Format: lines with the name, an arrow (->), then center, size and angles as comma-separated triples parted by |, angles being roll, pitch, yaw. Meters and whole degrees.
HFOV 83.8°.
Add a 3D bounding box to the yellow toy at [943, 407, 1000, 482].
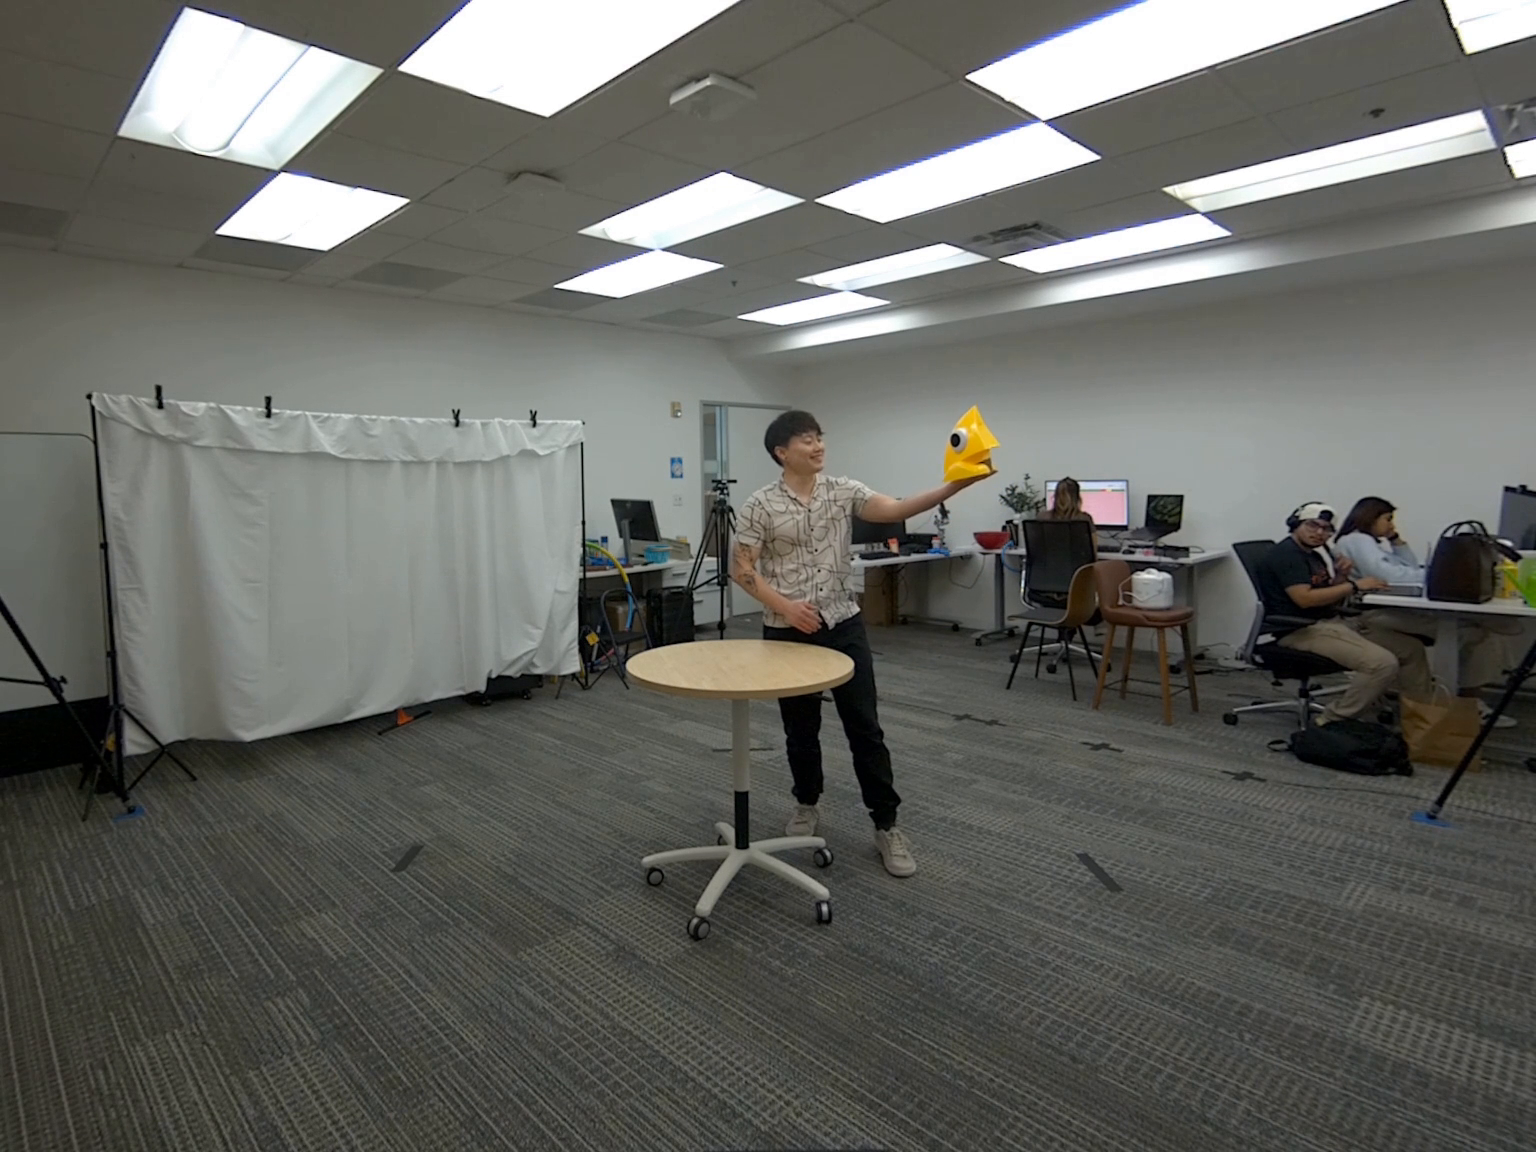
yellow toy -> 0.689, -0.459, 2.940 | 0.197, 0.230, 0.201 | -11, 4, 31
